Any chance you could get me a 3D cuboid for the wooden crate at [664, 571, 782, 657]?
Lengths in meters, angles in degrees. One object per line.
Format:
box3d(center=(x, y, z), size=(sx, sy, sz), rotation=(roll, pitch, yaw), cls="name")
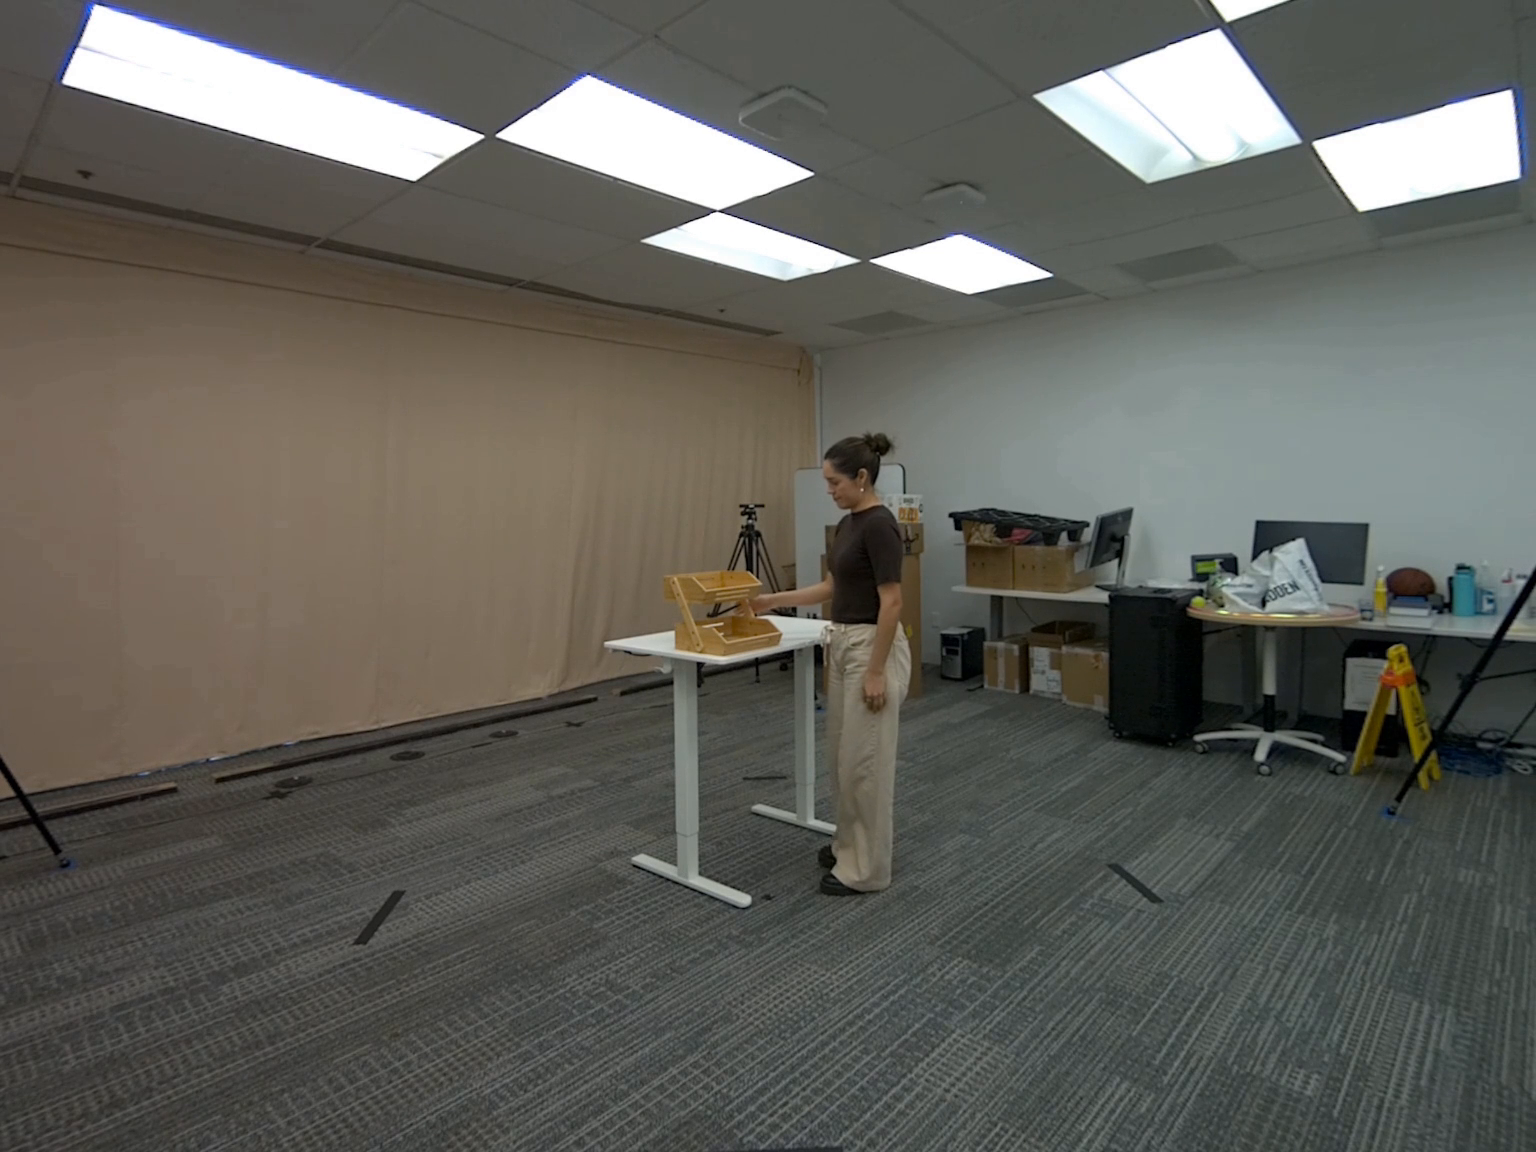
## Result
box3d(center=(-0.156, 0.124, 3.029), size=(0.312, 0.273, 0.314), rotation=(1, 4, 42), cls="wooden crate")
